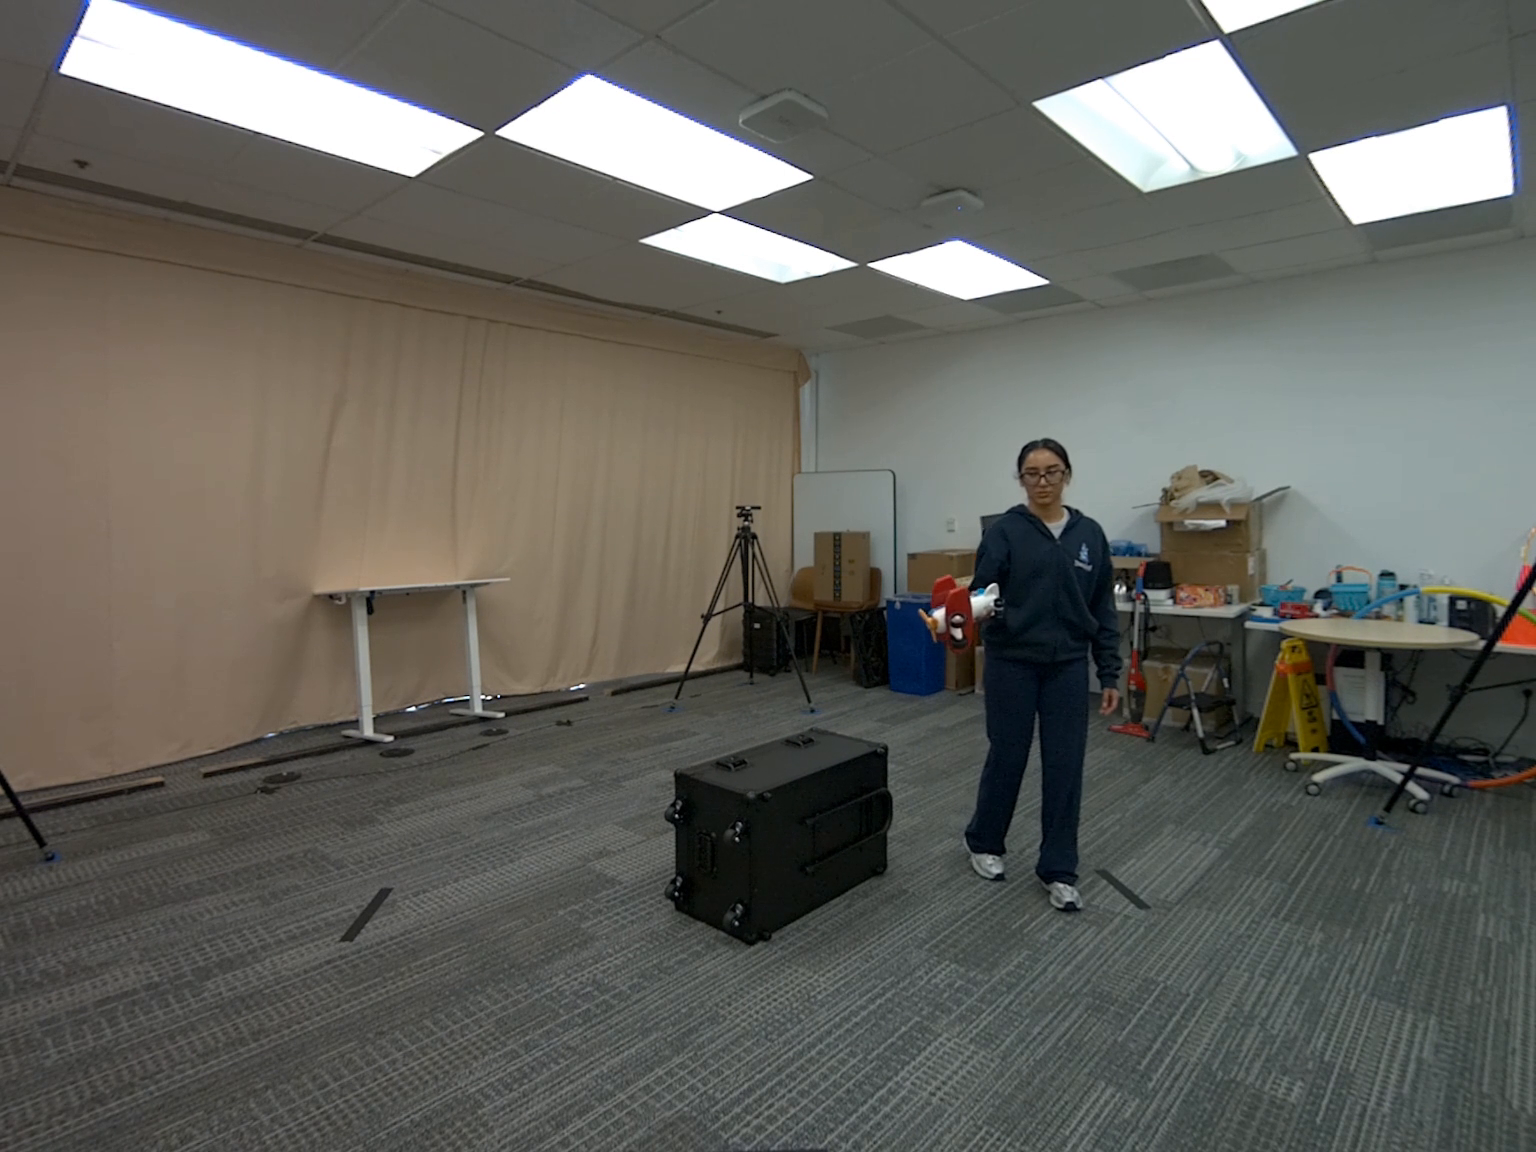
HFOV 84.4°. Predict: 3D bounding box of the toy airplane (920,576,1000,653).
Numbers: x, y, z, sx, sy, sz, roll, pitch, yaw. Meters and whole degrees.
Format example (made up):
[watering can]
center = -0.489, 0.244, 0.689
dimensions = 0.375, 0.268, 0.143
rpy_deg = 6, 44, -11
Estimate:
[toy airplane]
center = 0.659, 0.130, 2.736
dimensions = 0.251, 0.249, 0.162
rpy_deg = -2, 22, -38
